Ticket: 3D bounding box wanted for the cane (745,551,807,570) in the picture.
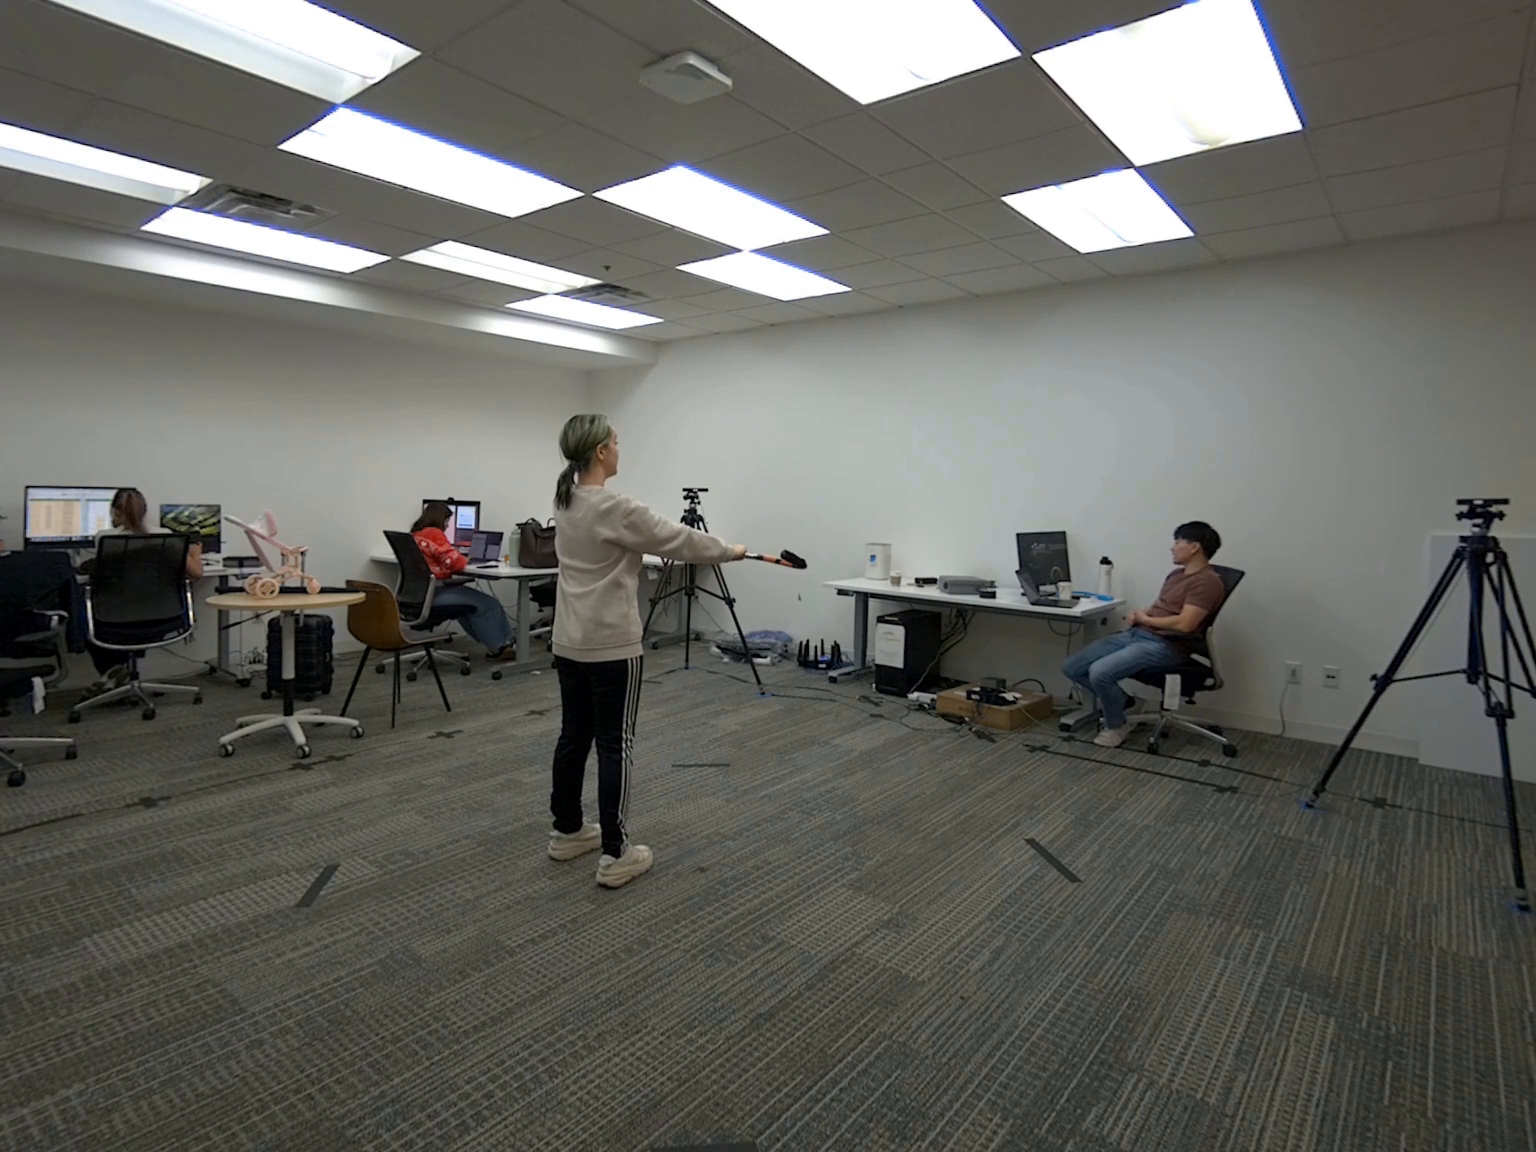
[{"bbox_3d":[-0.206,-0.102,3.437,0.940,0.152,0.198,9,-15,46],"label":"cane"}]
